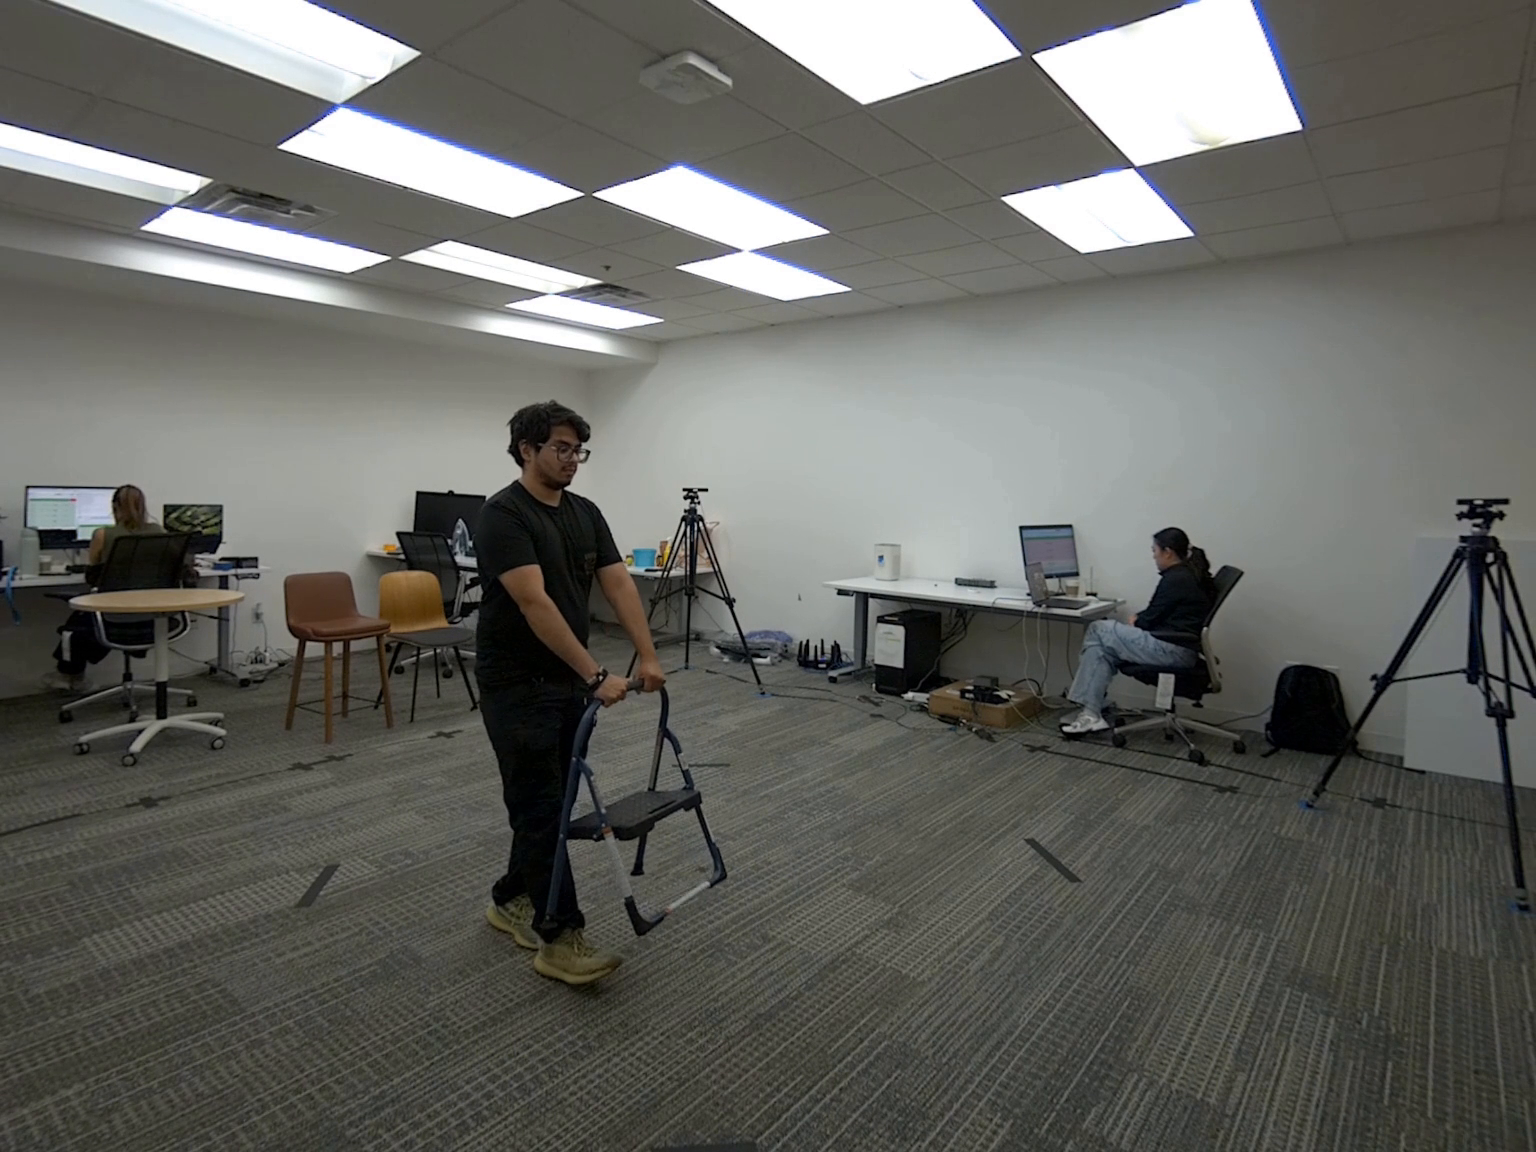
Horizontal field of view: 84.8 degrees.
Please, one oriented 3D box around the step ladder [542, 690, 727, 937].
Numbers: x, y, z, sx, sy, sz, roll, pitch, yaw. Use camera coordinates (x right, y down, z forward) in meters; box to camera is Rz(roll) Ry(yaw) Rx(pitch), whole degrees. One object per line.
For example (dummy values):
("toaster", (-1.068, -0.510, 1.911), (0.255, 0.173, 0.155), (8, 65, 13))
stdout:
("step ladder", (-0.413, 0.609, 2.391), (0.357, 0.609, 0.419), (-11, -4, 30))
